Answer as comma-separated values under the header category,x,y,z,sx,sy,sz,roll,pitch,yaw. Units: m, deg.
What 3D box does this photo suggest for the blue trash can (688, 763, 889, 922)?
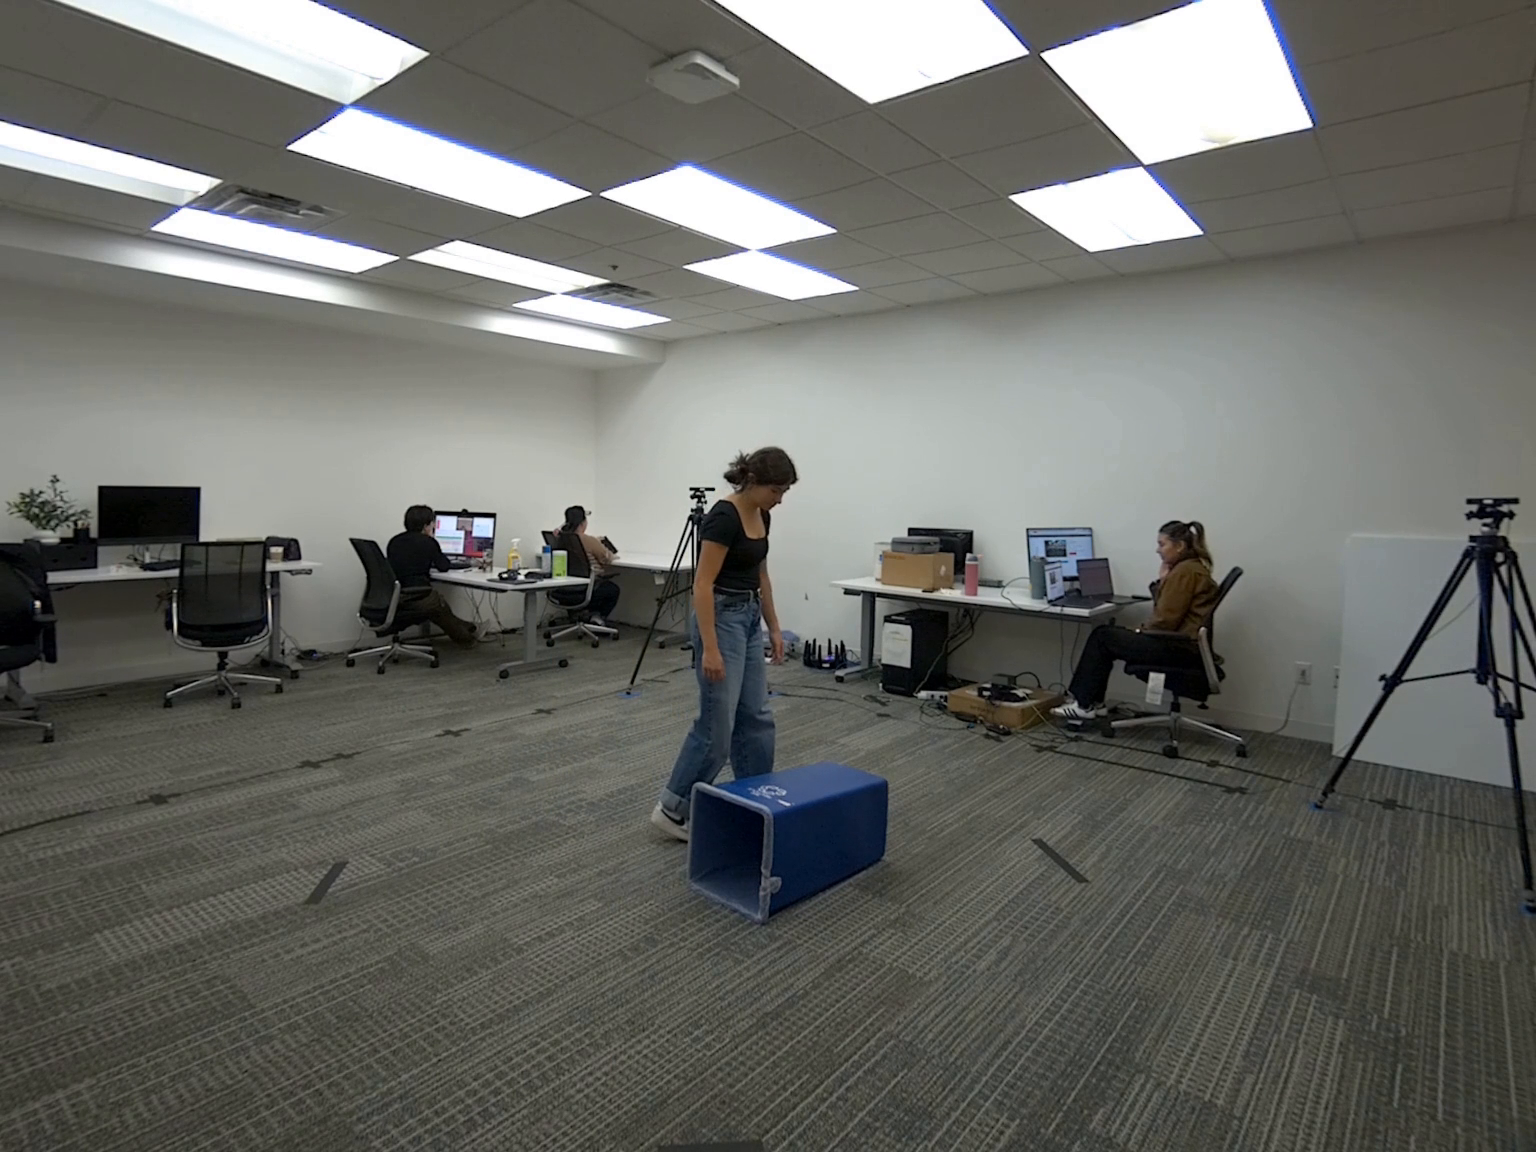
category,x,y,z,sx,sy,sz,roll,pitch,yaw
blue trash can,0.088,0.909,3.075,0.387,0.378,0.690,4,3,44
